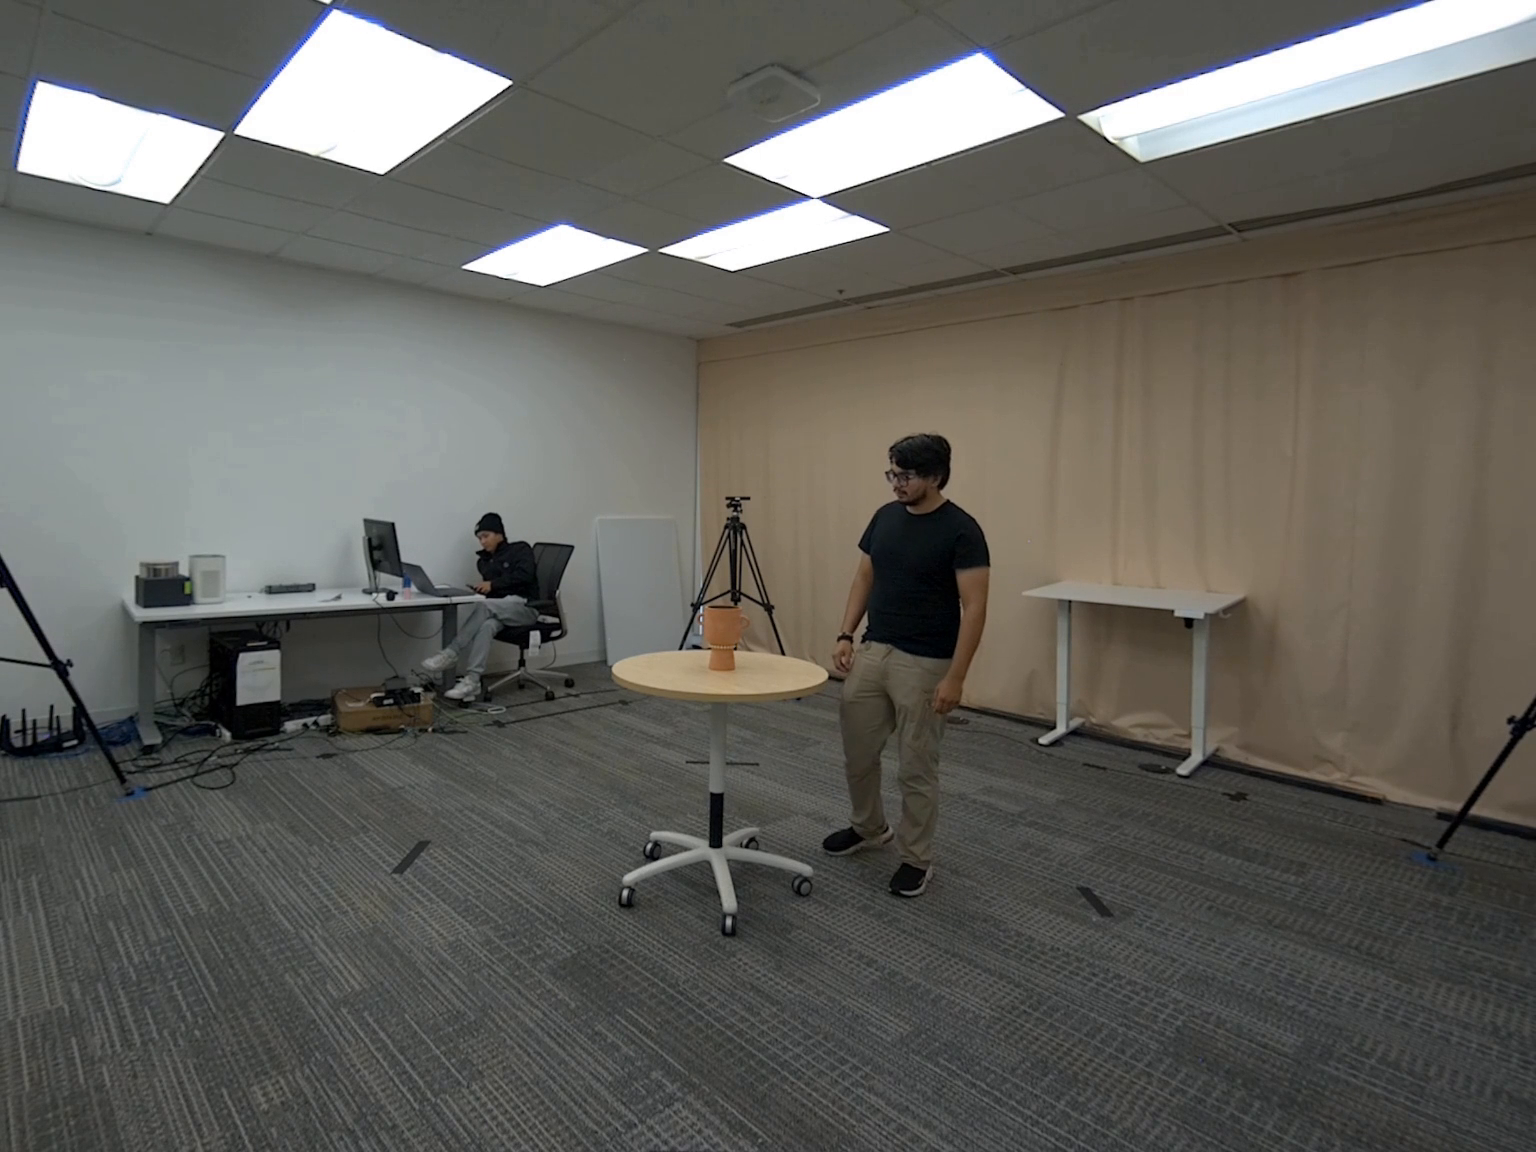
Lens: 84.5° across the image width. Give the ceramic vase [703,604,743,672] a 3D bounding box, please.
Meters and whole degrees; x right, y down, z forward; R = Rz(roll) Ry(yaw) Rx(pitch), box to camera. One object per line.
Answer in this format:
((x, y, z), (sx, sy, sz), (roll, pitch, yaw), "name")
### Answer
((-0.165, 0.220, 3.009), (0.132, 0.219, 0.162), (-1, 4, -34), "ceramic vase")
